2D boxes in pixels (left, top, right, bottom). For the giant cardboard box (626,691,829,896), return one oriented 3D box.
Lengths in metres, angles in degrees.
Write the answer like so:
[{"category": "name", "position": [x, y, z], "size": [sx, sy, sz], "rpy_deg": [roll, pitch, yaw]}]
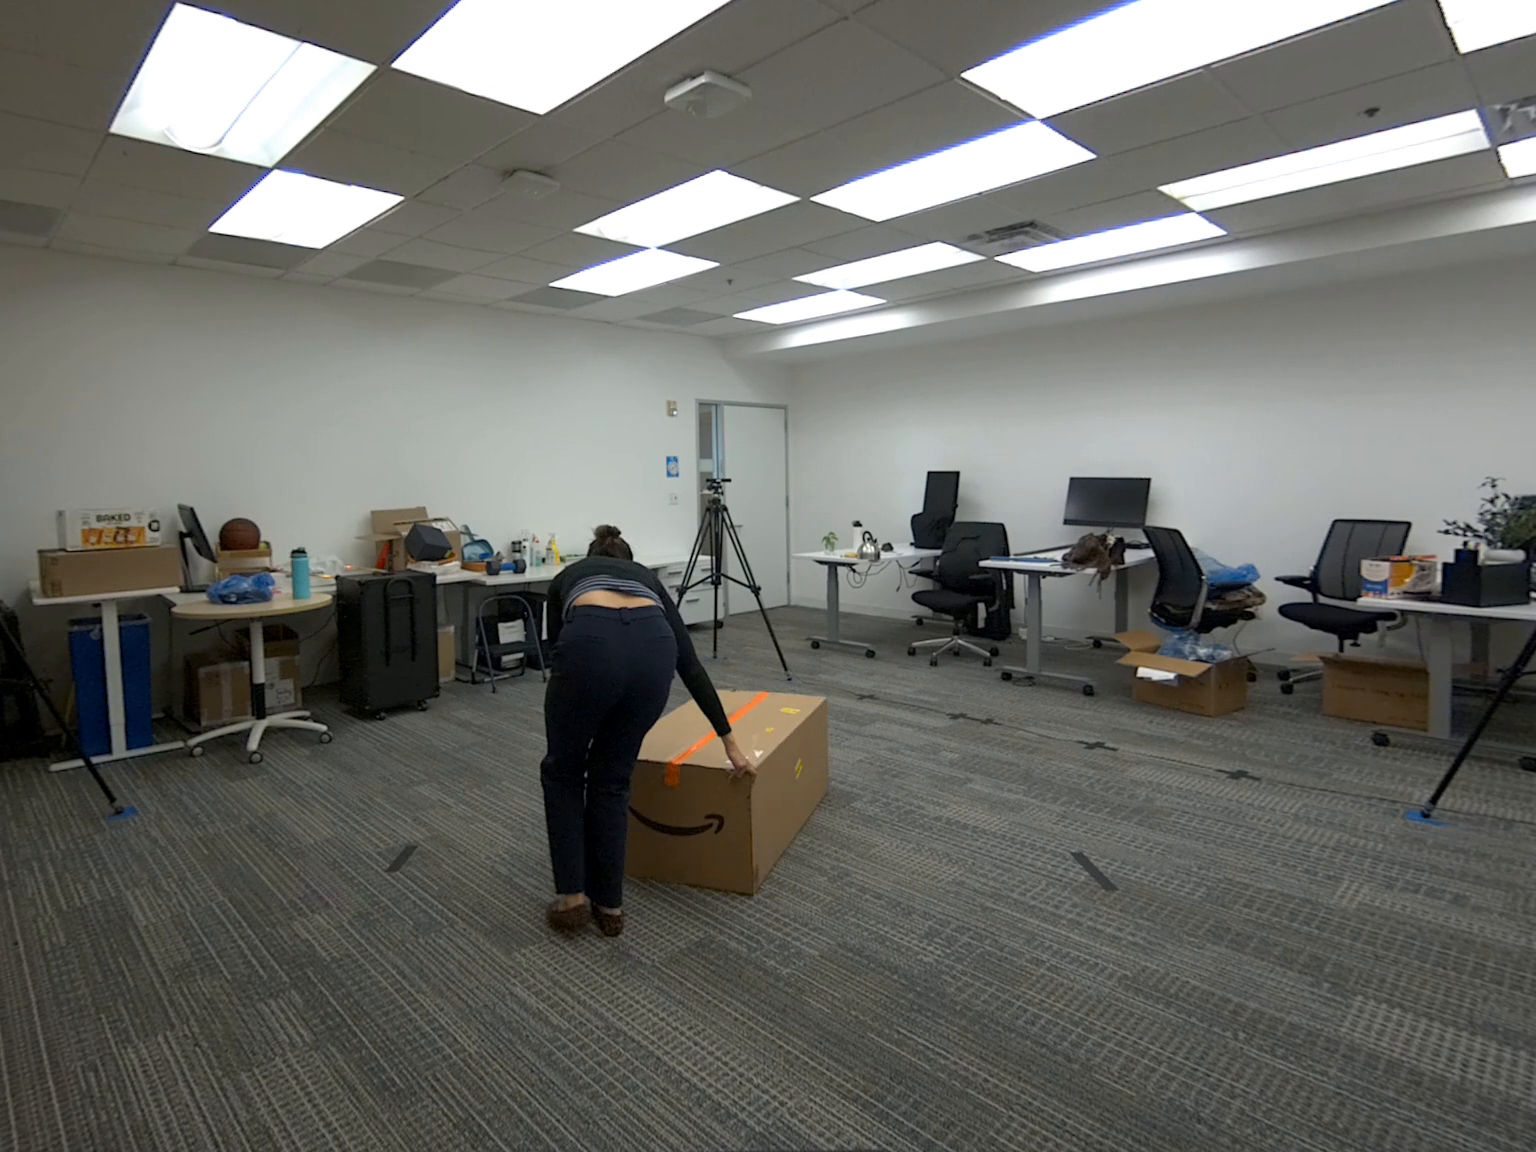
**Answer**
[{"category": "giant cardboard box", "position": [-0.160, 0.794, 3.417], "size": [0.589, 0.424, 1.011], "rpy_deg": [1, 6, 19]}]
